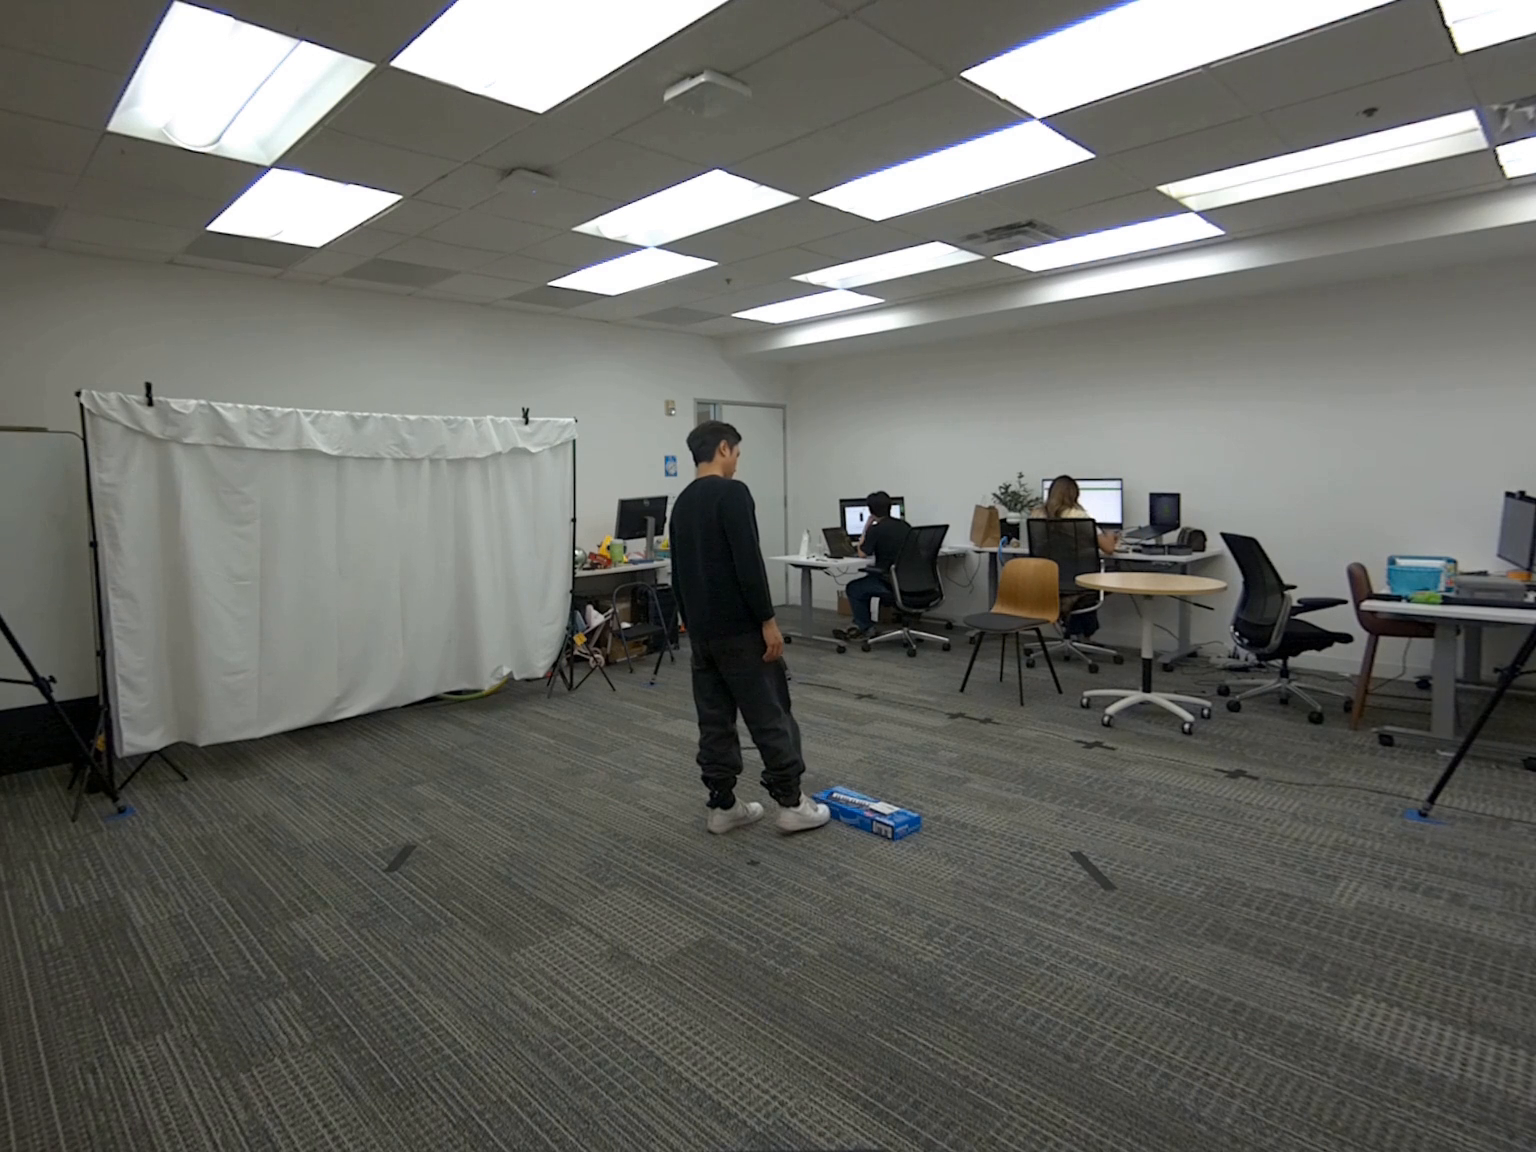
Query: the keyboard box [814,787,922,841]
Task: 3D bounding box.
[{"bbox_3d":[0.392,0.959,3.486,0.171,0.059,0.450,-5,8,-41],"label":"keyboard box"}]
